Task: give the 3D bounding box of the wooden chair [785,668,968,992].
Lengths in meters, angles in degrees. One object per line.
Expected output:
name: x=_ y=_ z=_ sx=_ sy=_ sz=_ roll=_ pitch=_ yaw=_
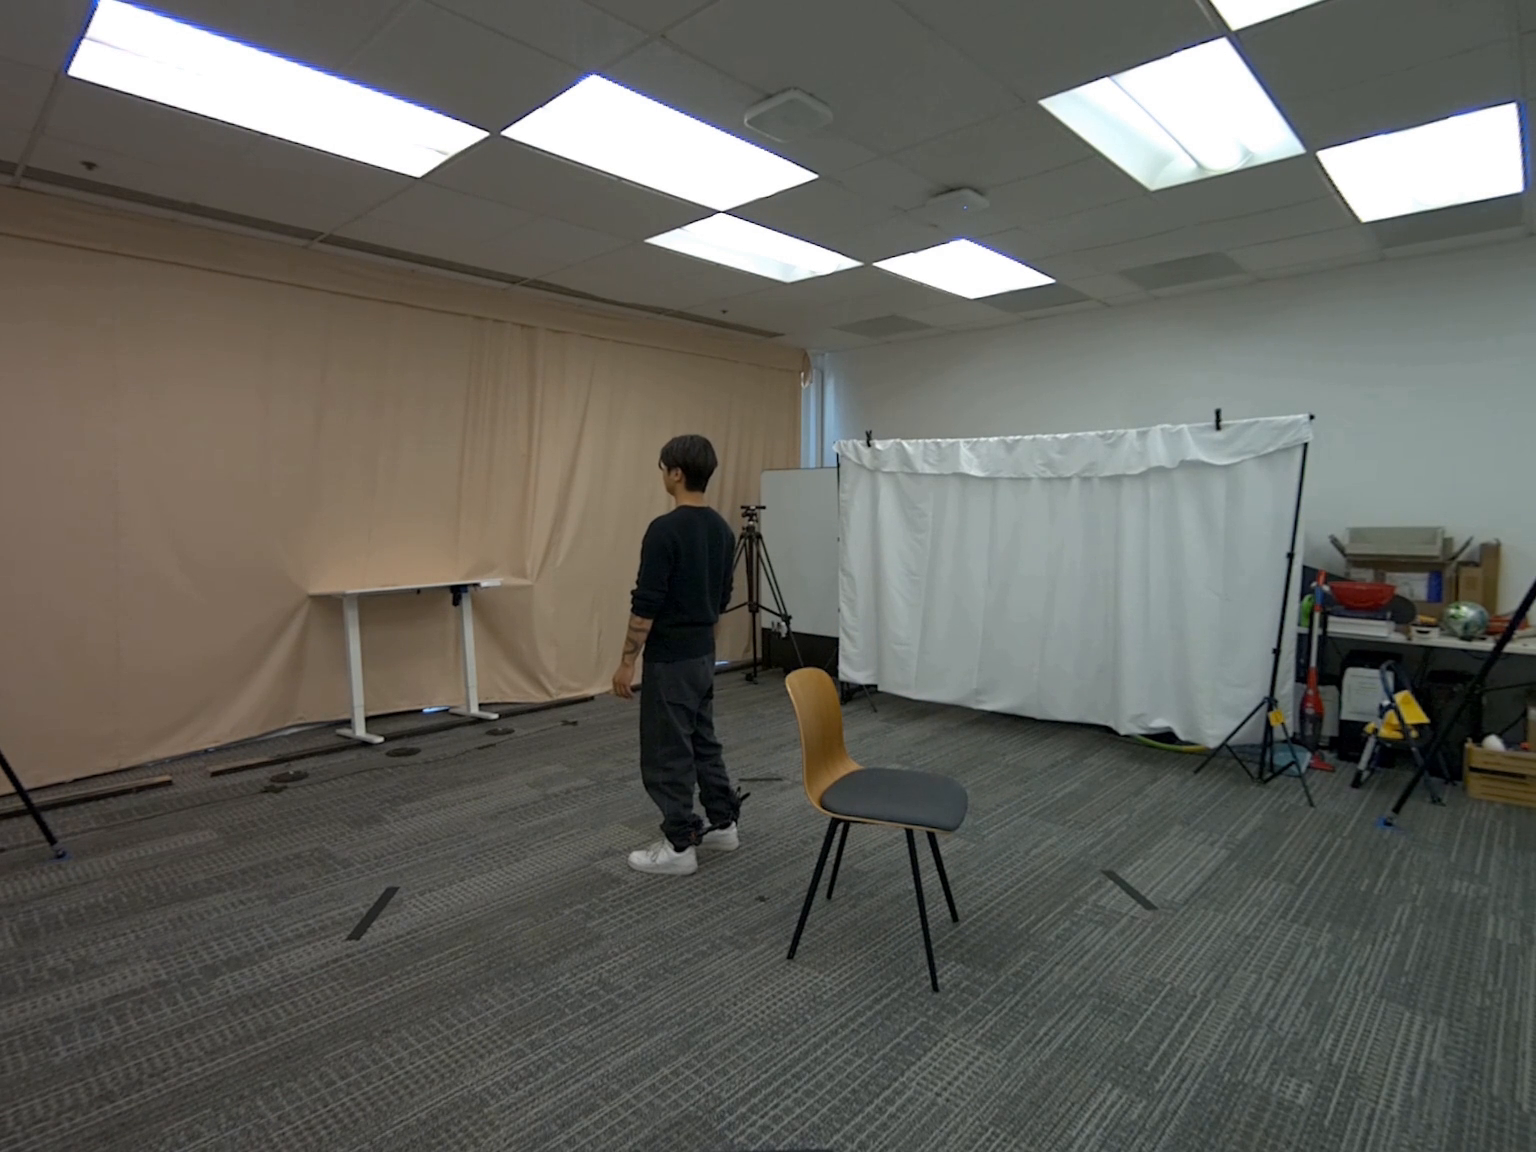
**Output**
wooden chair: x=0.361 y=0.742 z=2.670 sx=0.535 sy=0.877 sz=0.468 roll=-3 pitch=1 yaw=22
